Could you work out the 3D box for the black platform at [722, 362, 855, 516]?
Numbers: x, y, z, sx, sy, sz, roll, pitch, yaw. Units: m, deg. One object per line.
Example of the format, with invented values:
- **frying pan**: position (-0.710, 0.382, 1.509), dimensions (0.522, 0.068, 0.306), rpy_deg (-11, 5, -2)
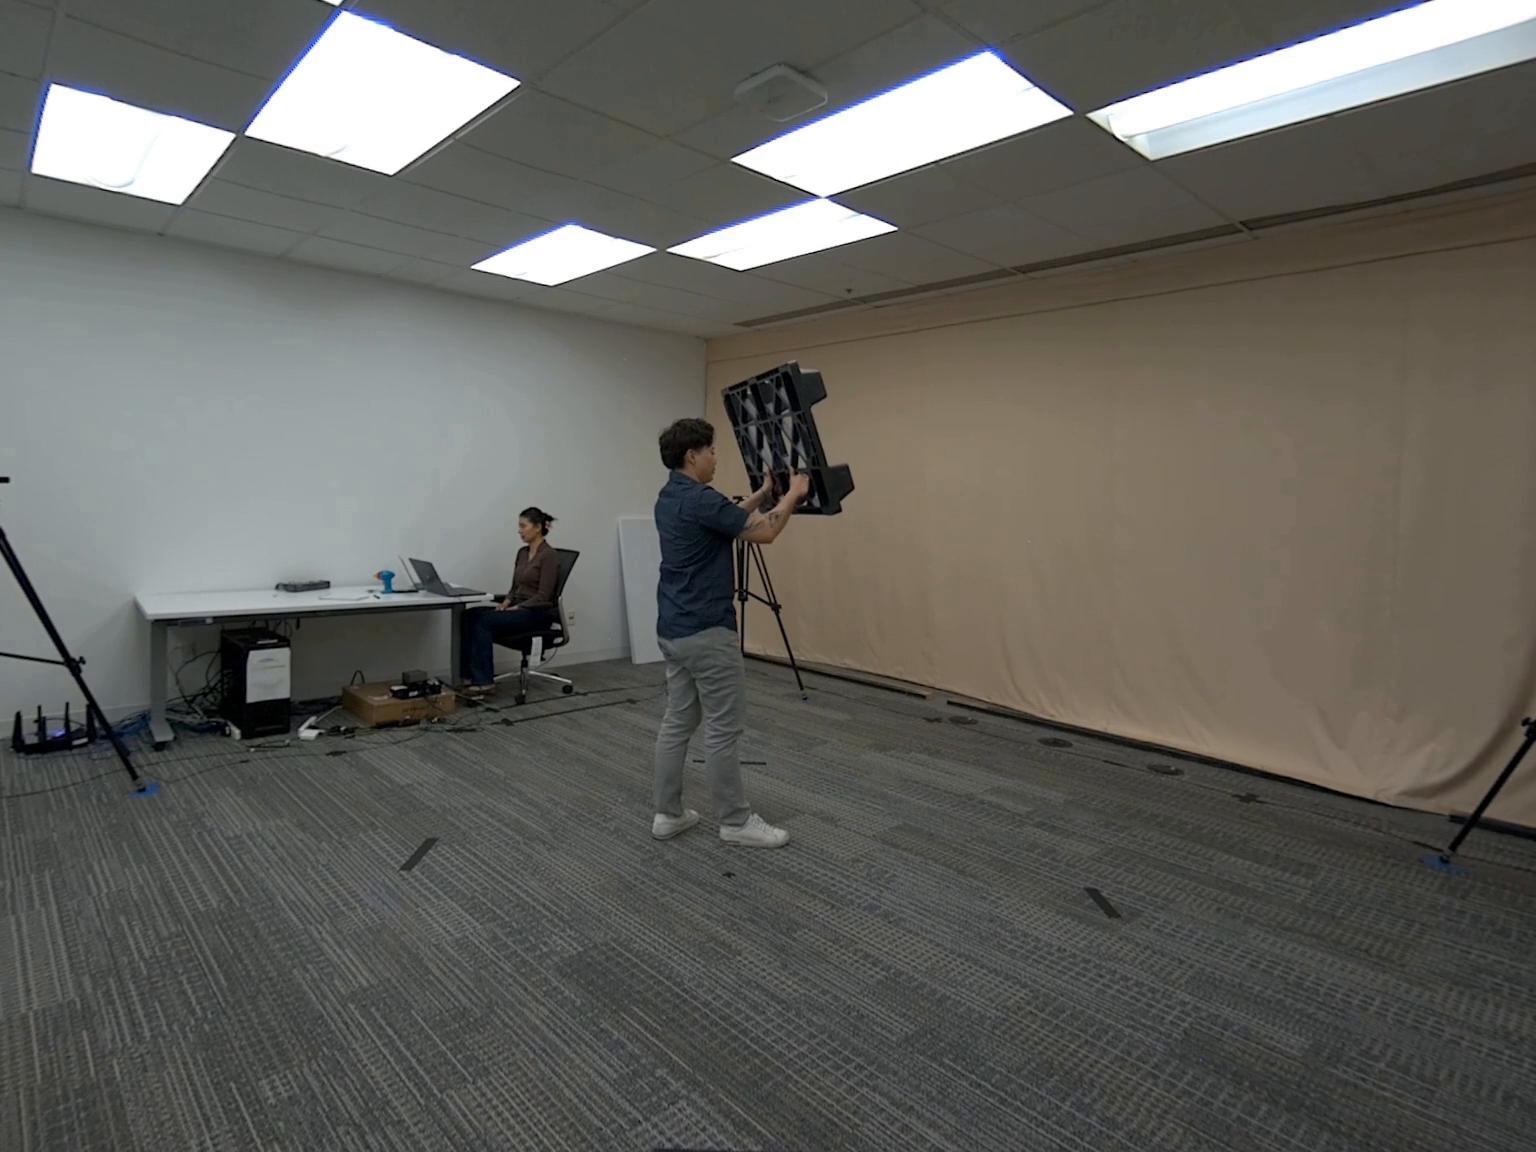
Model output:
- **black platform**: position (0.068, -0.563, 3.536), dimensions (0.142, 0.600, 0.820), rpy_deg (-19, 10, -18)
